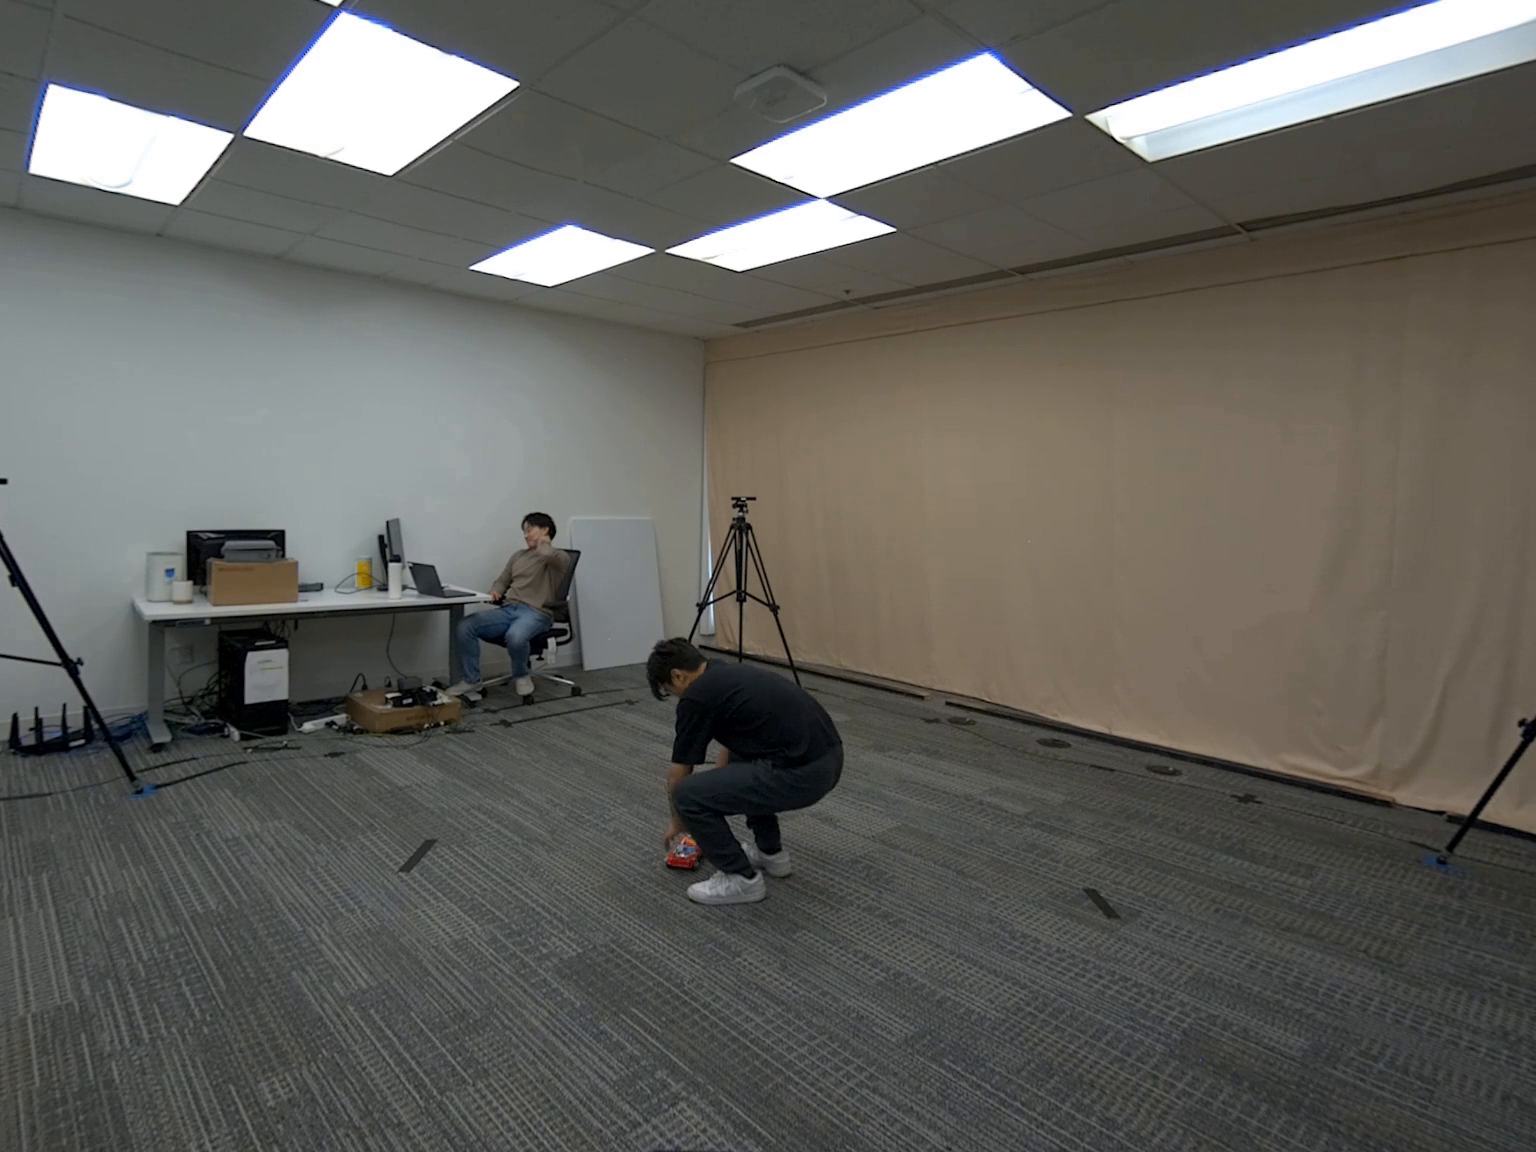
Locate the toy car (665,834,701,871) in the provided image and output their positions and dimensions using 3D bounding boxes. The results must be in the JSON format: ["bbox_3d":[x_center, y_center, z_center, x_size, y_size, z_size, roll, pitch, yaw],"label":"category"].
[{"bbox_3d":[-0.306,1.058,3.248,0.131,0.082,0.255,0,16,11],"label":"toy car"}]
